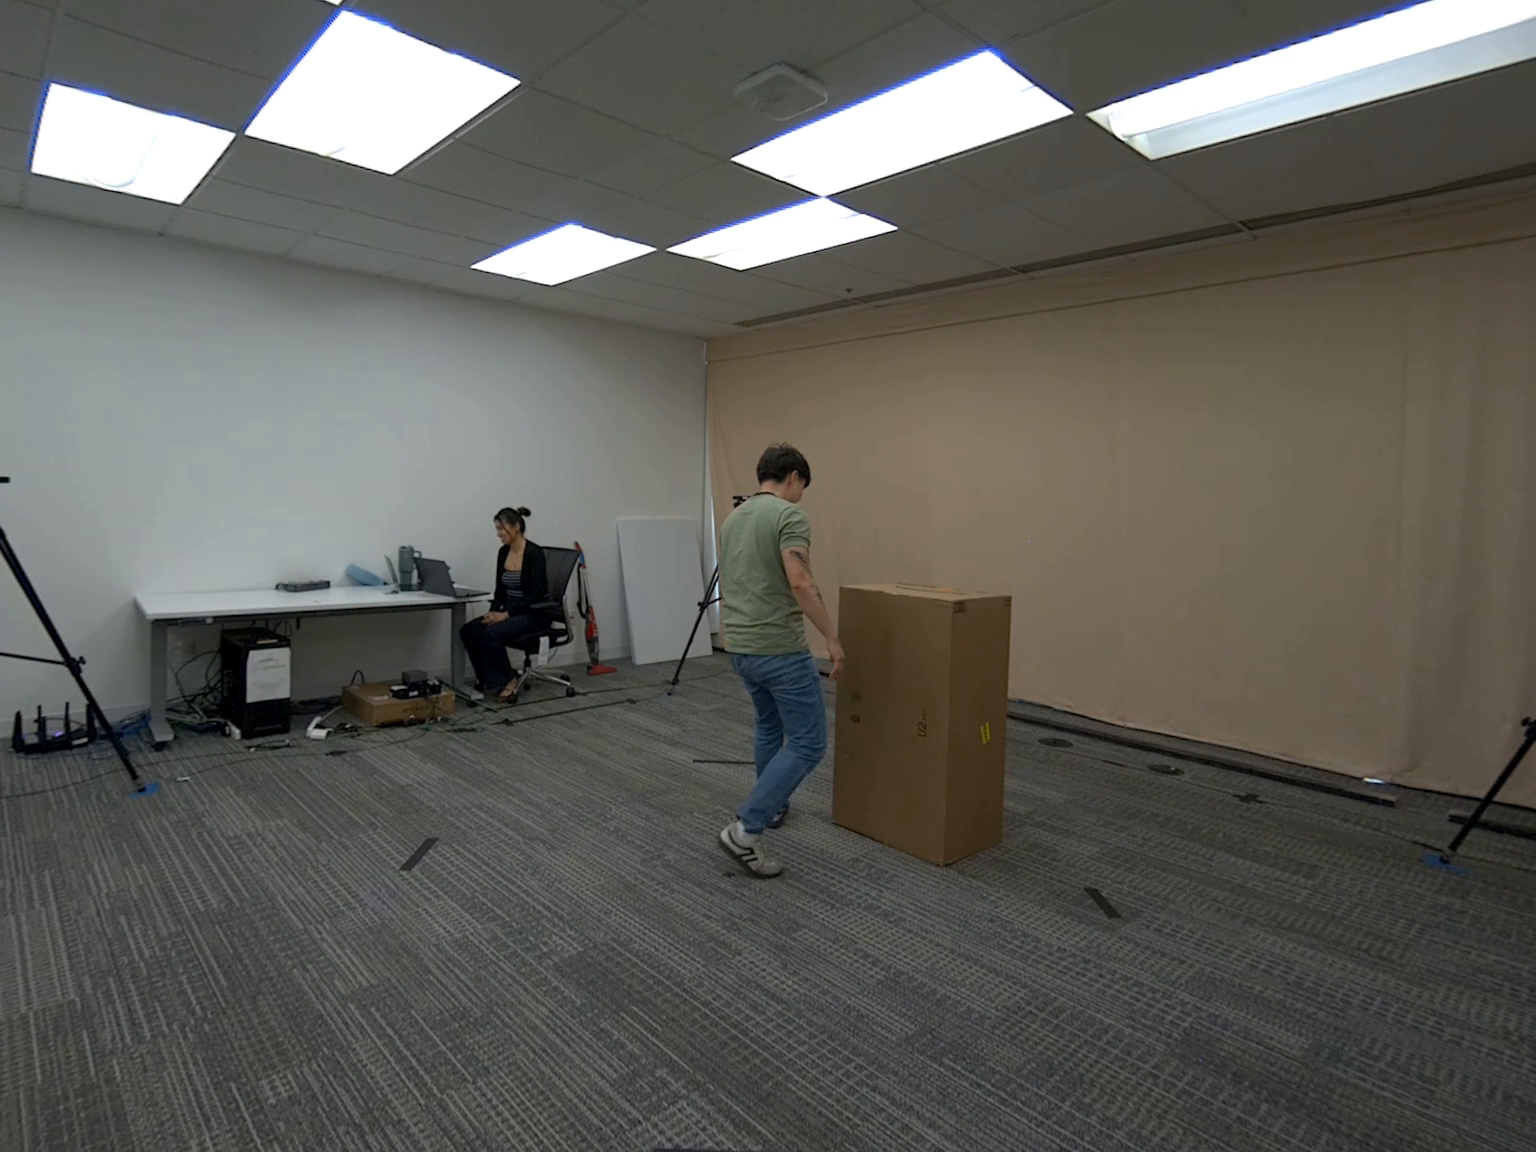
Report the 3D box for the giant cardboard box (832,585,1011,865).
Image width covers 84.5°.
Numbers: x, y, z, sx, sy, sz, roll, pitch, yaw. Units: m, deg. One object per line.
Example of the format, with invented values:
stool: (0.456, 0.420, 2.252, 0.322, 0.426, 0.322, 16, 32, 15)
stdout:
giant cardboard box: (0.631, 0.571, 3.546, 0.416, 1.024, 0.592, 0, 4, -42)
